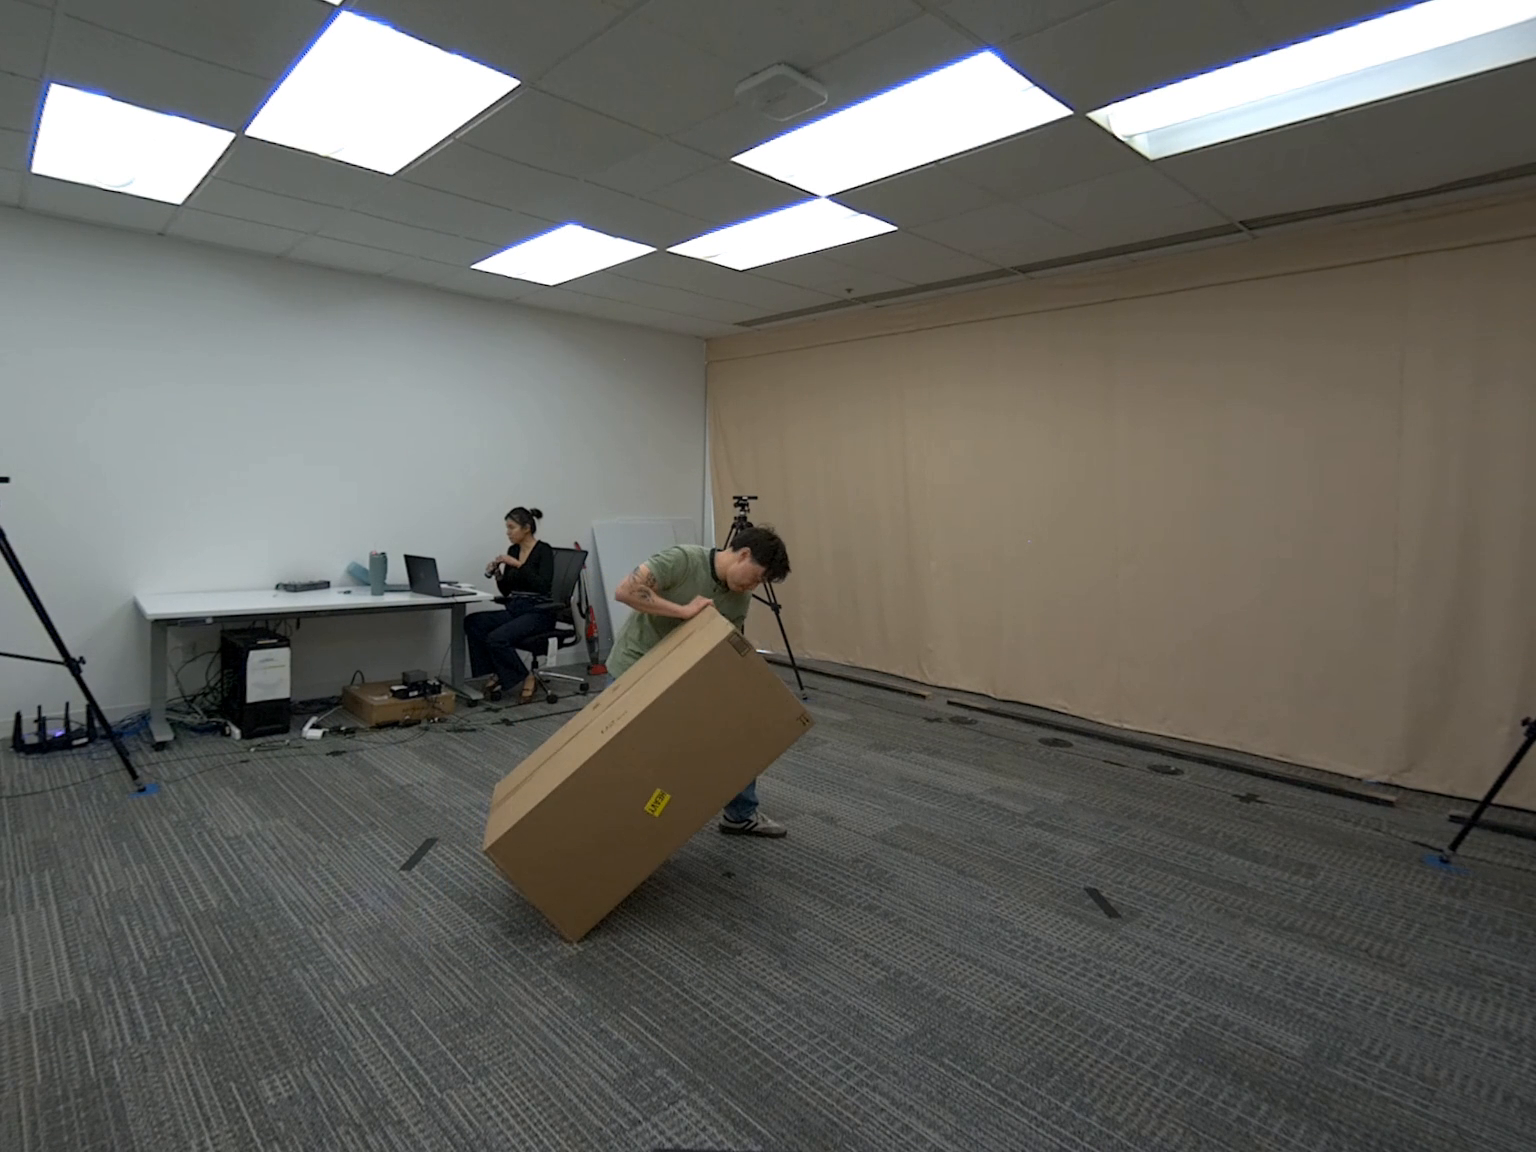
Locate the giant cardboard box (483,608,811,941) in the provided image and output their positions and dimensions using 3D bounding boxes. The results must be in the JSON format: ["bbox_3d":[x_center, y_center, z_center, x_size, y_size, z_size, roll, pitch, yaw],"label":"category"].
[{"bbox_3d":[-0.424,0.626,2.890,1.025,0.421,0.585,-41,12,-6],"label":"giant cardboard box"}]
